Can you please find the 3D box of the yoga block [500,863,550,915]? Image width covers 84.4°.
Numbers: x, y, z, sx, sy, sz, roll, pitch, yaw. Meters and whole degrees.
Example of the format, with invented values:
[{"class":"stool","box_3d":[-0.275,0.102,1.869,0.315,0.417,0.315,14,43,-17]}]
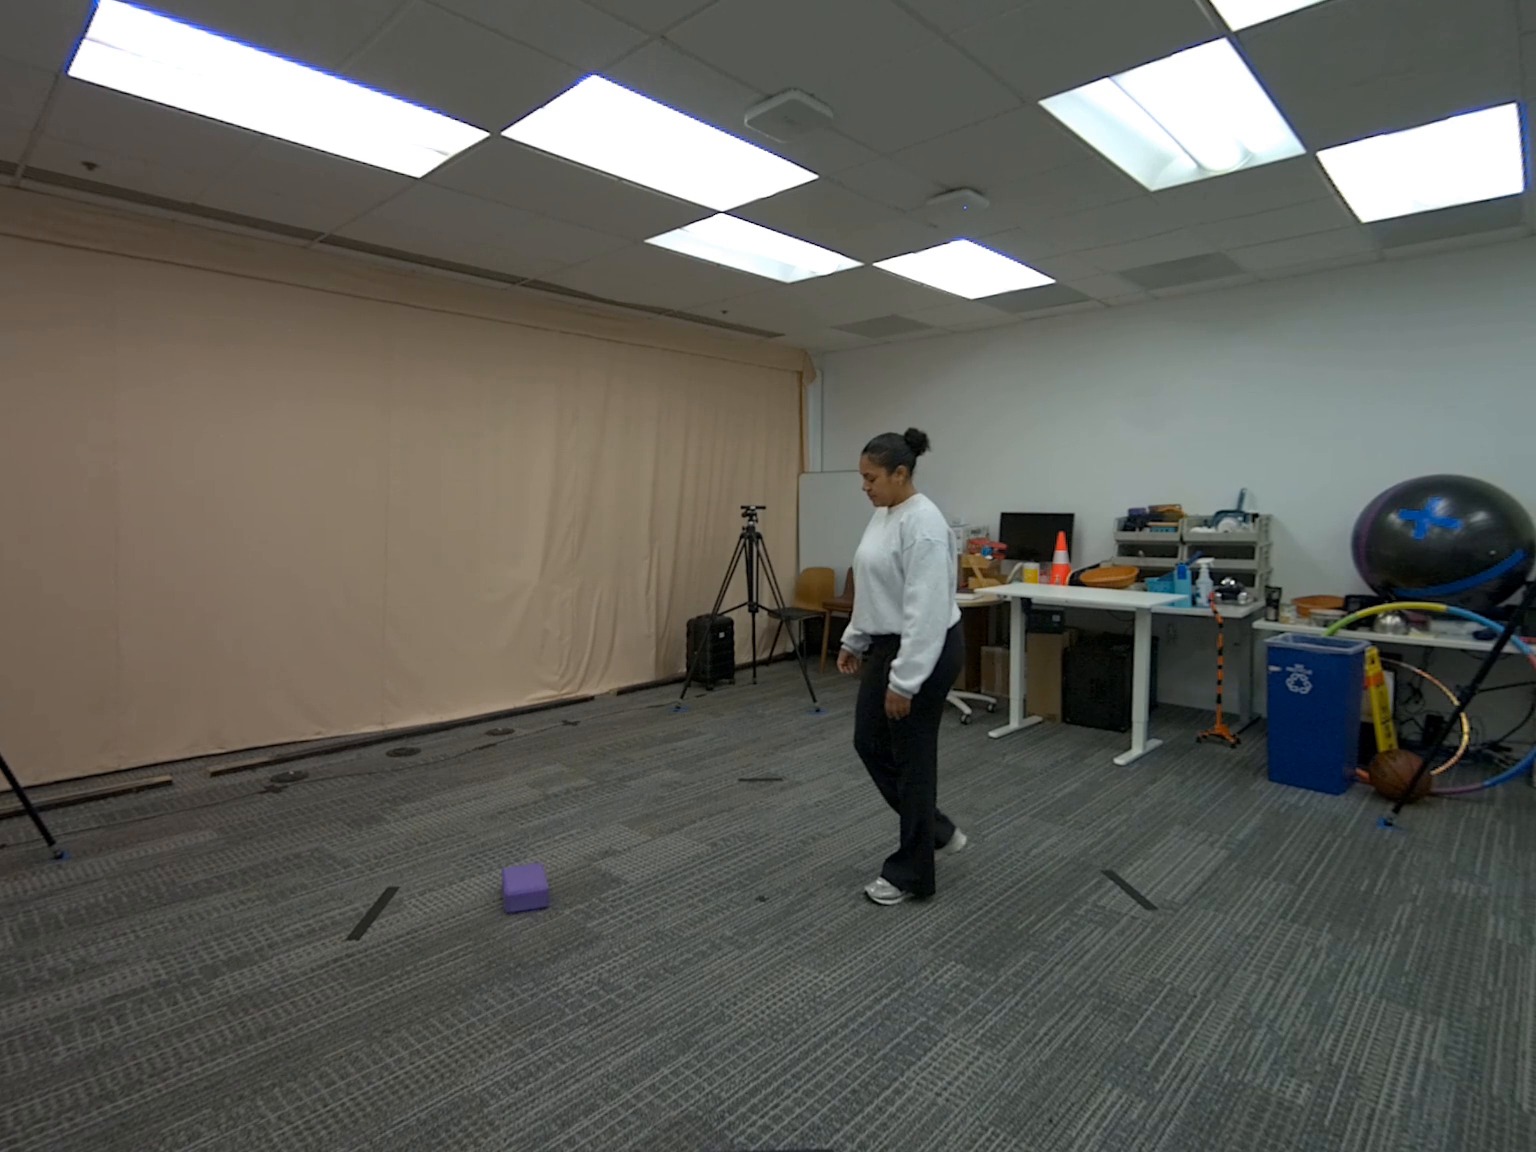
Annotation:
[{"class":"yoga block","box_3d":[-0.868,1.114,3.007,0.146,0.076,0.234,-1,5,-19]}]
